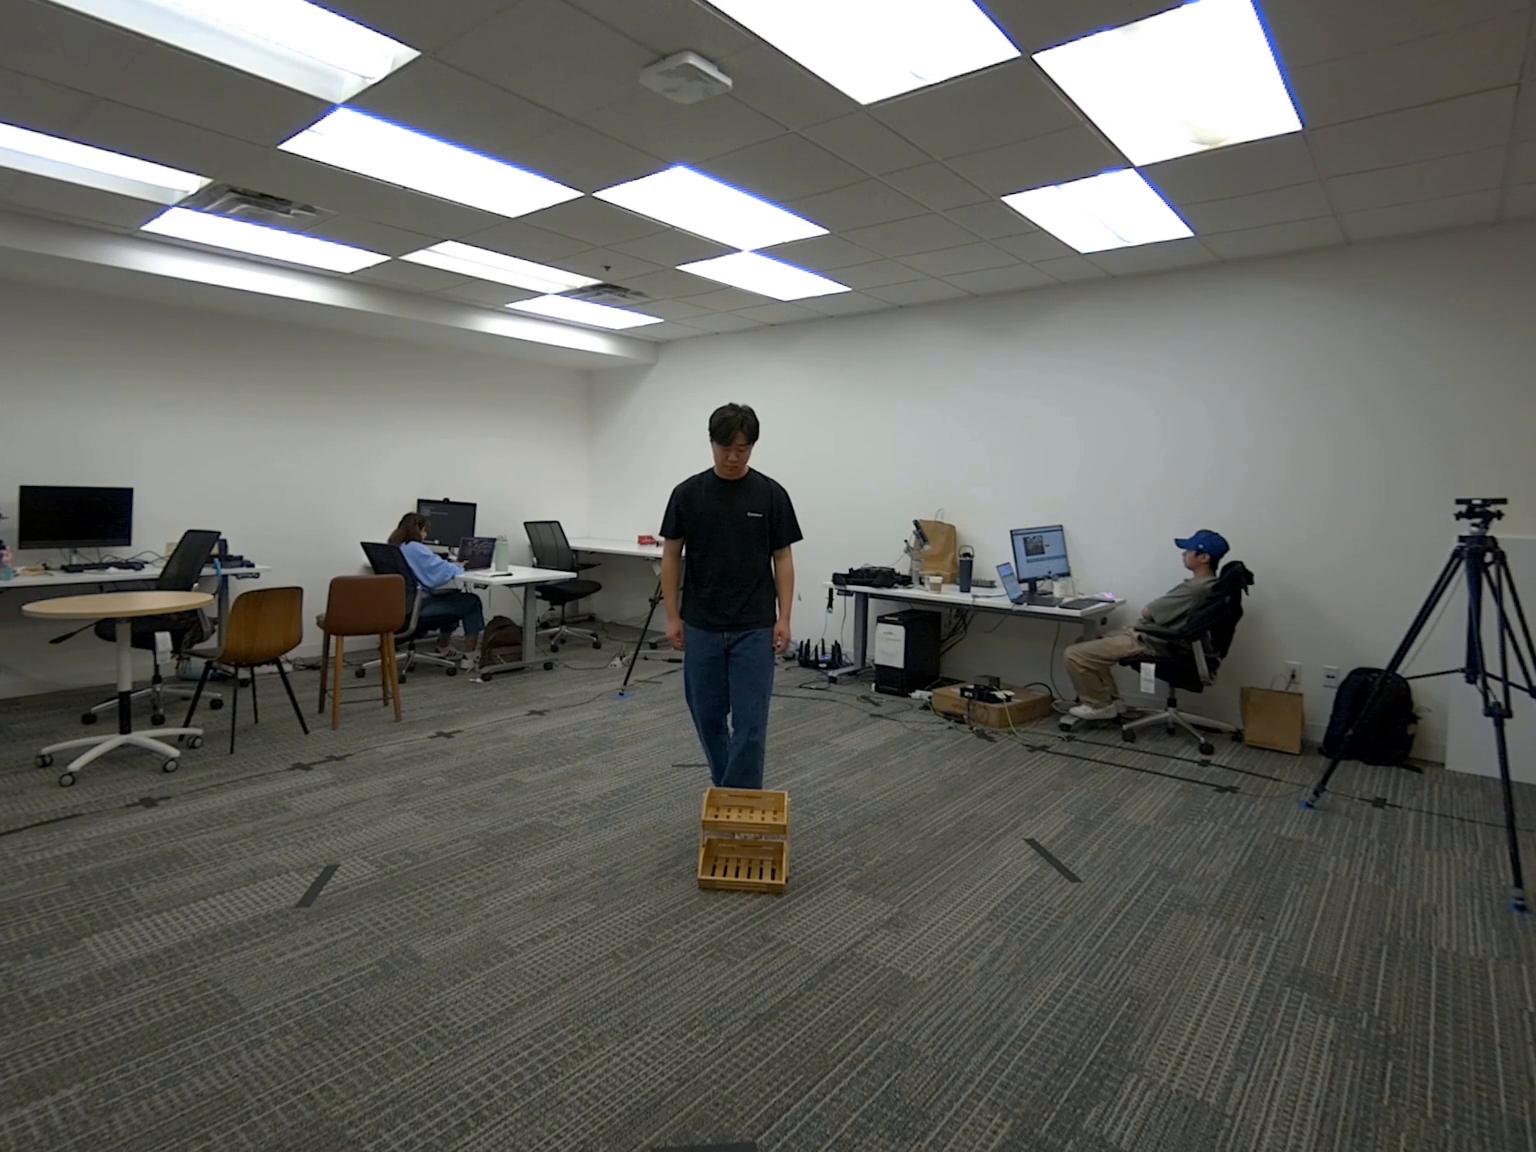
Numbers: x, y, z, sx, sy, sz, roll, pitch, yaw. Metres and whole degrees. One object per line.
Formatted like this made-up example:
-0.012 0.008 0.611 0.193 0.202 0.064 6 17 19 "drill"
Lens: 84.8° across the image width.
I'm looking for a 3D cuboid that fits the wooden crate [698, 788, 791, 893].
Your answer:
-0.092 0.942 3.072 0.326 0.272 0.301 2 4 4 "wooden crate"
